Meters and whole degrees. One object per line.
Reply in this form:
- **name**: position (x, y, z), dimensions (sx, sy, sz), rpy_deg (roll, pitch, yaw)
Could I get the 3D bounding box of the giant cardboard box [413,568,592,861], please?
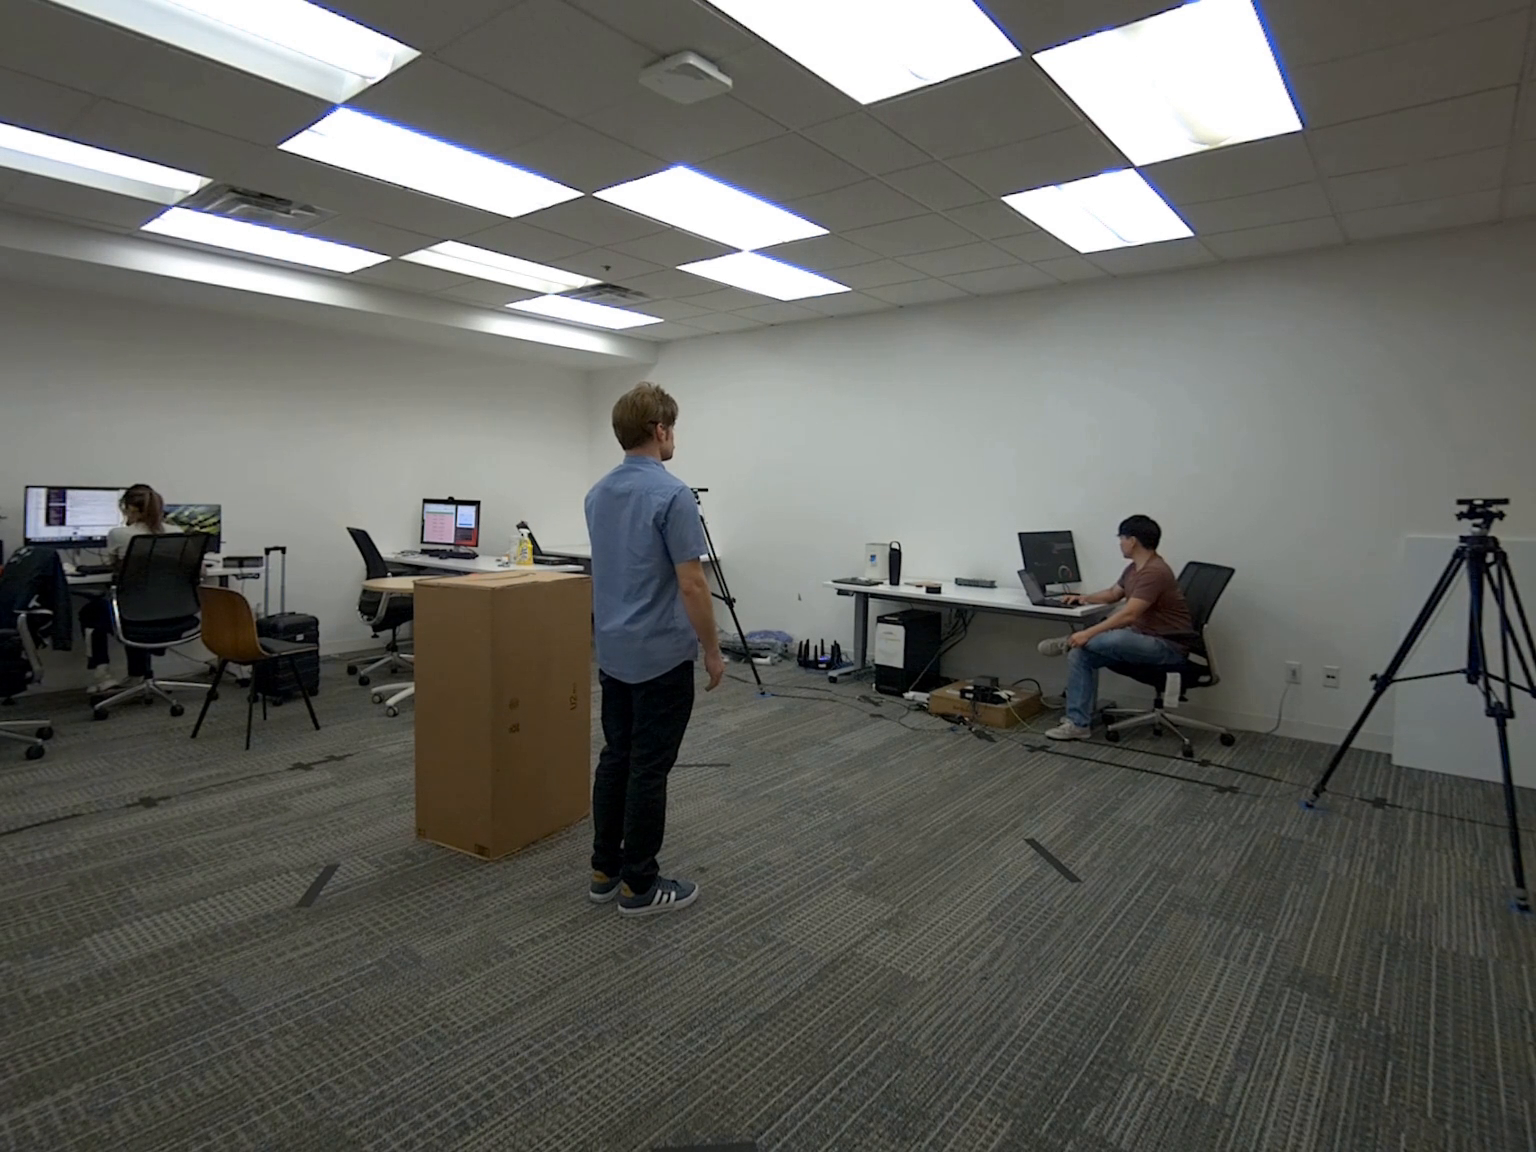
- **giant cardboard box**: position (-1.081, 0.513, 3.455), dimensions (0.439, 1.023, 0.563), rpy_deg (3, 4, 29)
